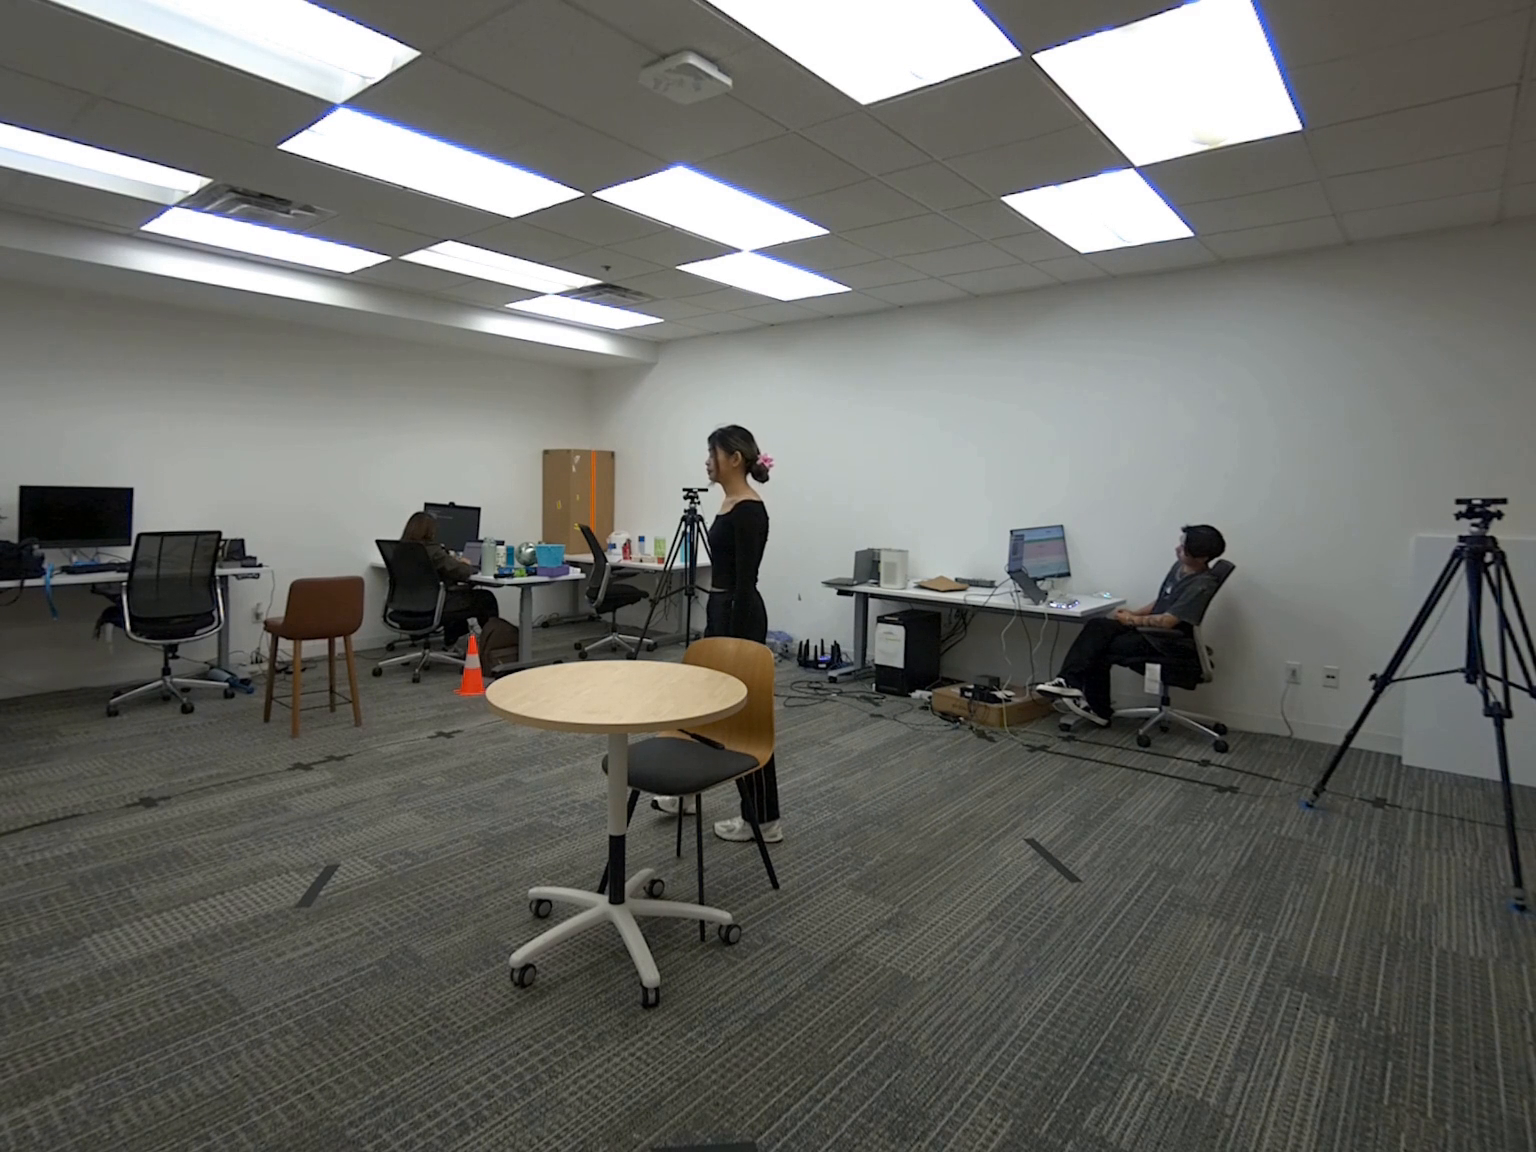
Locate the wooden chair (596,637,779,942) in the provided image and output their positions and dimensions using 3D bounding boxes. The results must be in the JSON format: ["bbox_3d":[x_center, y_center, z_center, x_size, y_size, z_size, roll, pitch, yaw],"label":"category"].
[{"bbox_3d":[-0.274,0.661,2.881,0.493,0.878,0.506,4,0,34],"label":"wooden chair"}]
